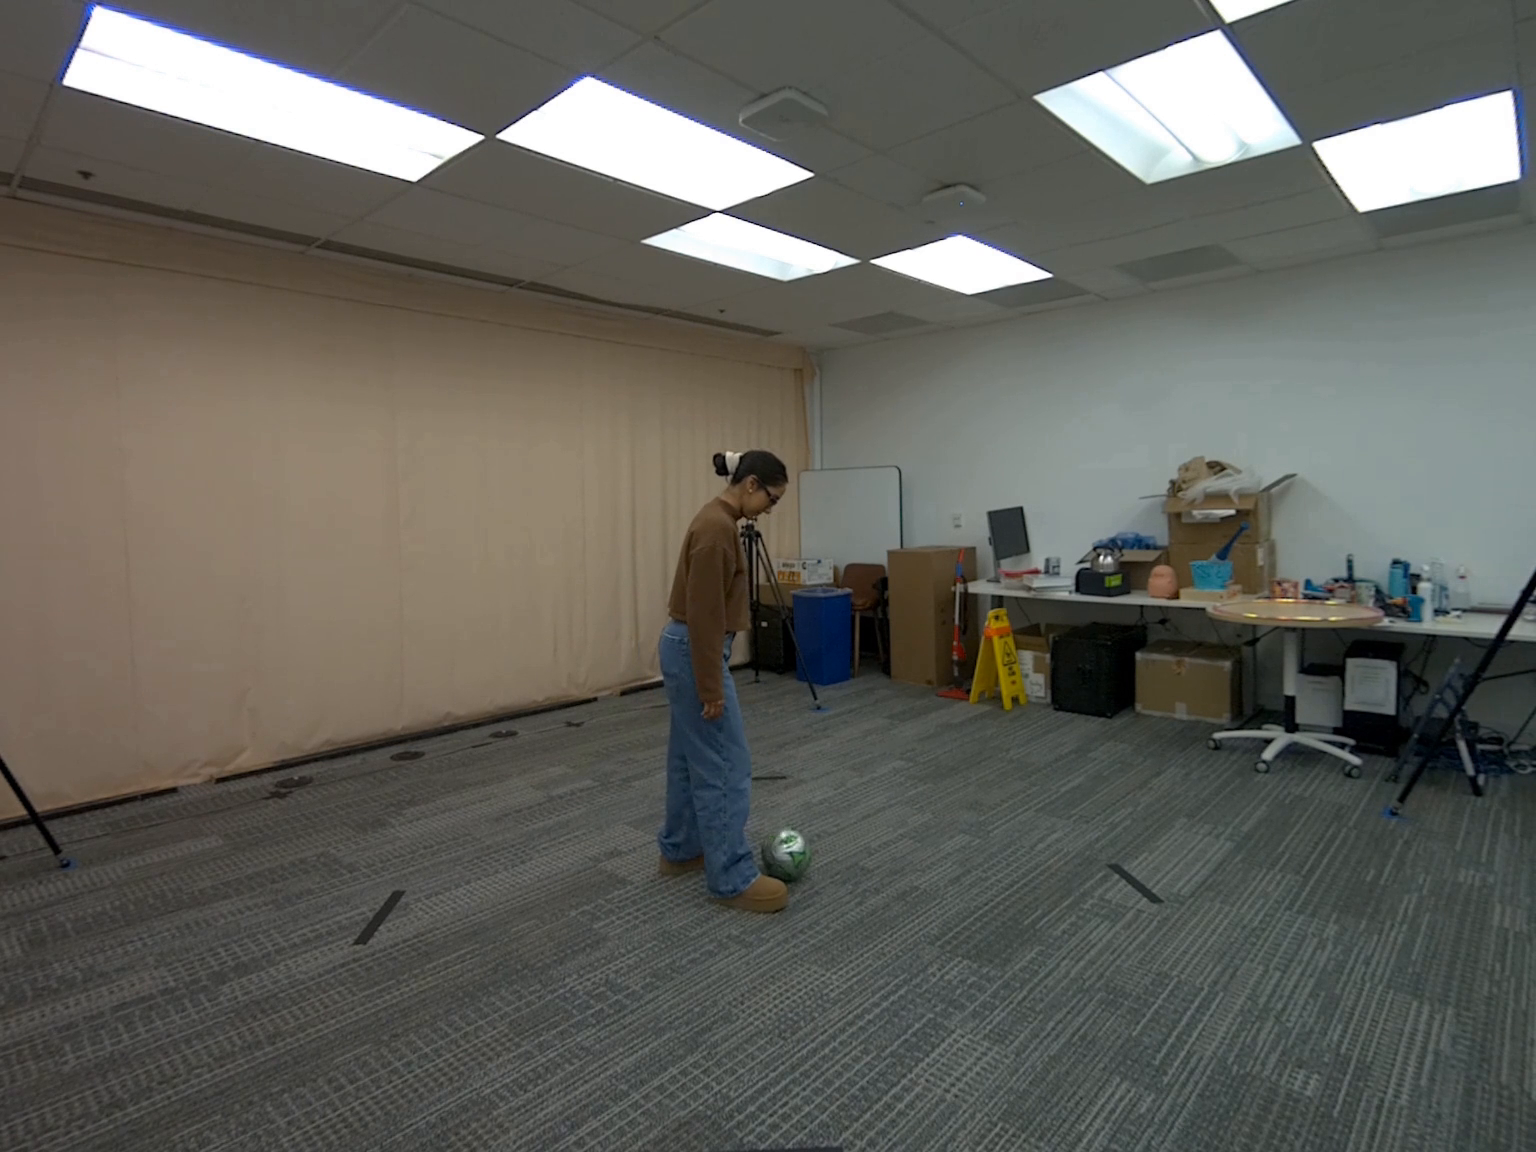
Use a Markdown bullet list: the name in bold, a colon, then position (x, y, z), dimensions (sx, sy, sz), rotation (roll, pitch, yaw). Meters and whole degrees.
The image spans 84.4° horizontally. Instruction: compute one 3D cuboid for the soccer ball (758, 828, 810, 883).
- **soccer ball**: position (0.069, 1.032, 3.123), dimensions (0.187, 0.187, 0.188), rotation (-1, 4, -2)
